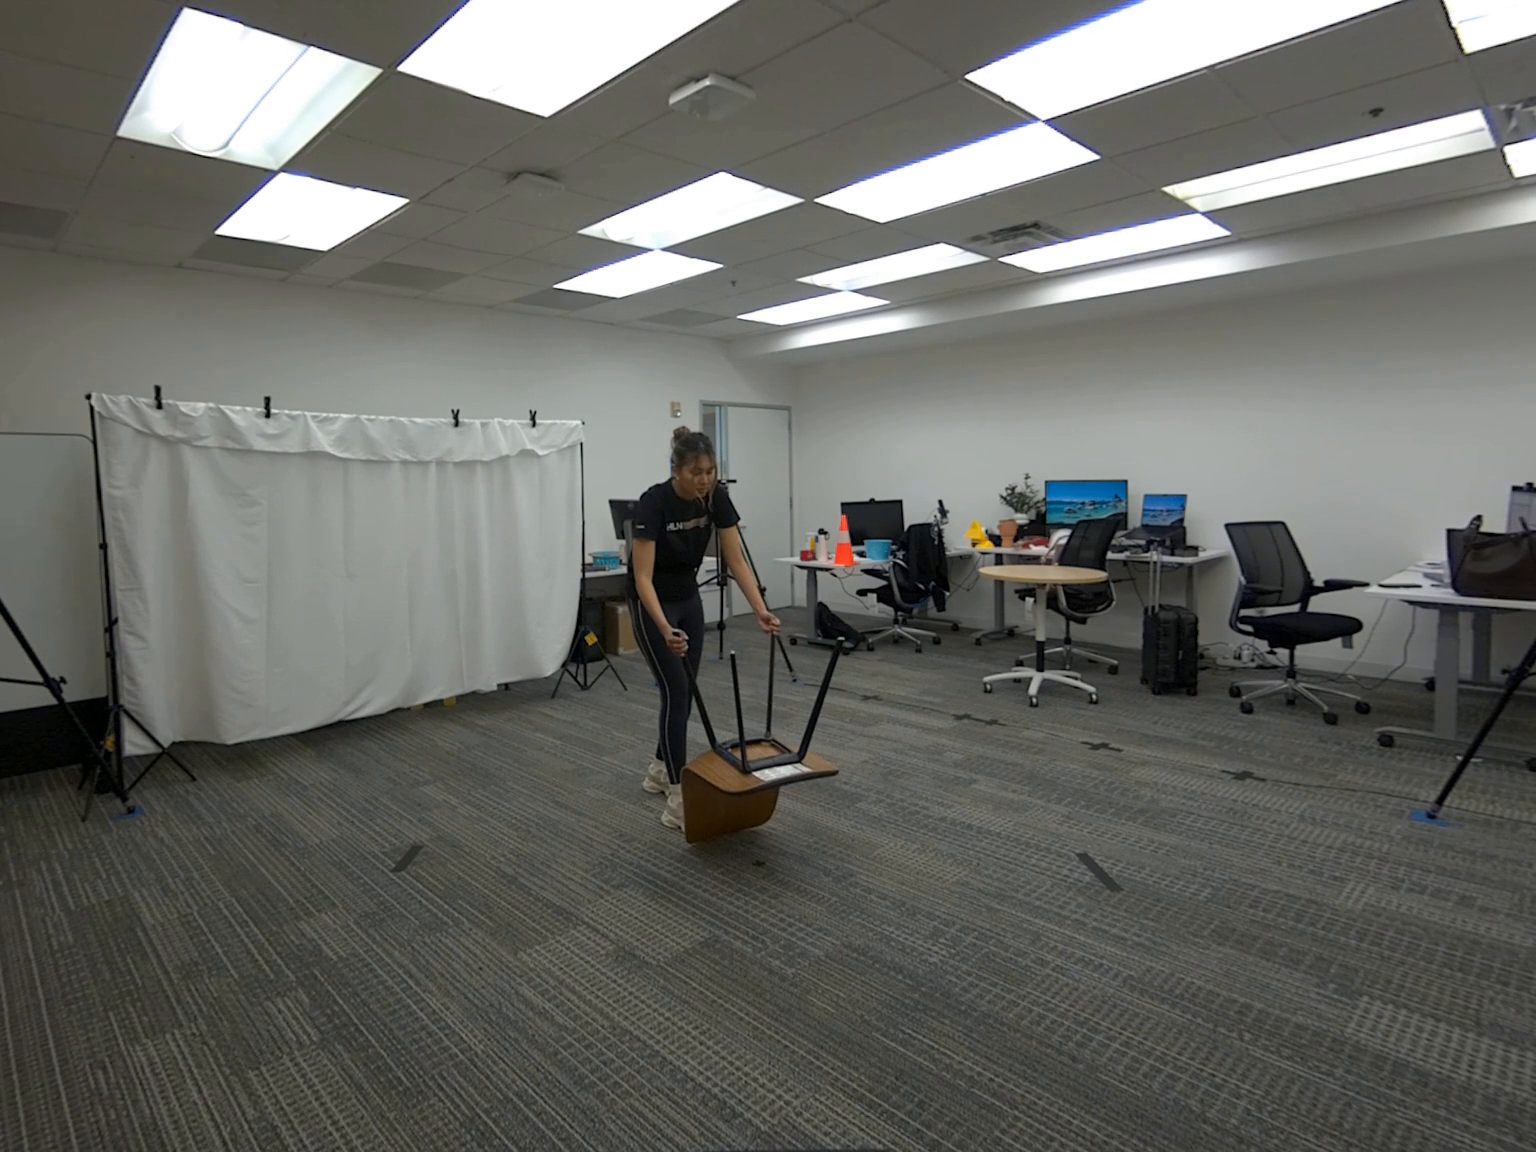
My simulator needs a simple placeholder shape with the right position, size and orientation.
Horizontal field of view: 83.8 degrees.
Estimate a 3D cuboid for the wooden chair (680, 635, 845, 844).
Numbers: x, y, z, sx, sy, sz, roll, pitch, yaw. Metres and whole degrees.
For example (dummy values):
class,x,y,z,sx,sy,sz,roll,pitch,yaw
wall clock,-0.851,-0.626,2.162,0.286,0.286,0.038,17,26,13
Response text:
class,x,y,z,sx,sy,sz,roll,pitch,yaw
wooden chair,-0.038,0.641,3.091,0.467,0.871,0.539,-3,9,-31
